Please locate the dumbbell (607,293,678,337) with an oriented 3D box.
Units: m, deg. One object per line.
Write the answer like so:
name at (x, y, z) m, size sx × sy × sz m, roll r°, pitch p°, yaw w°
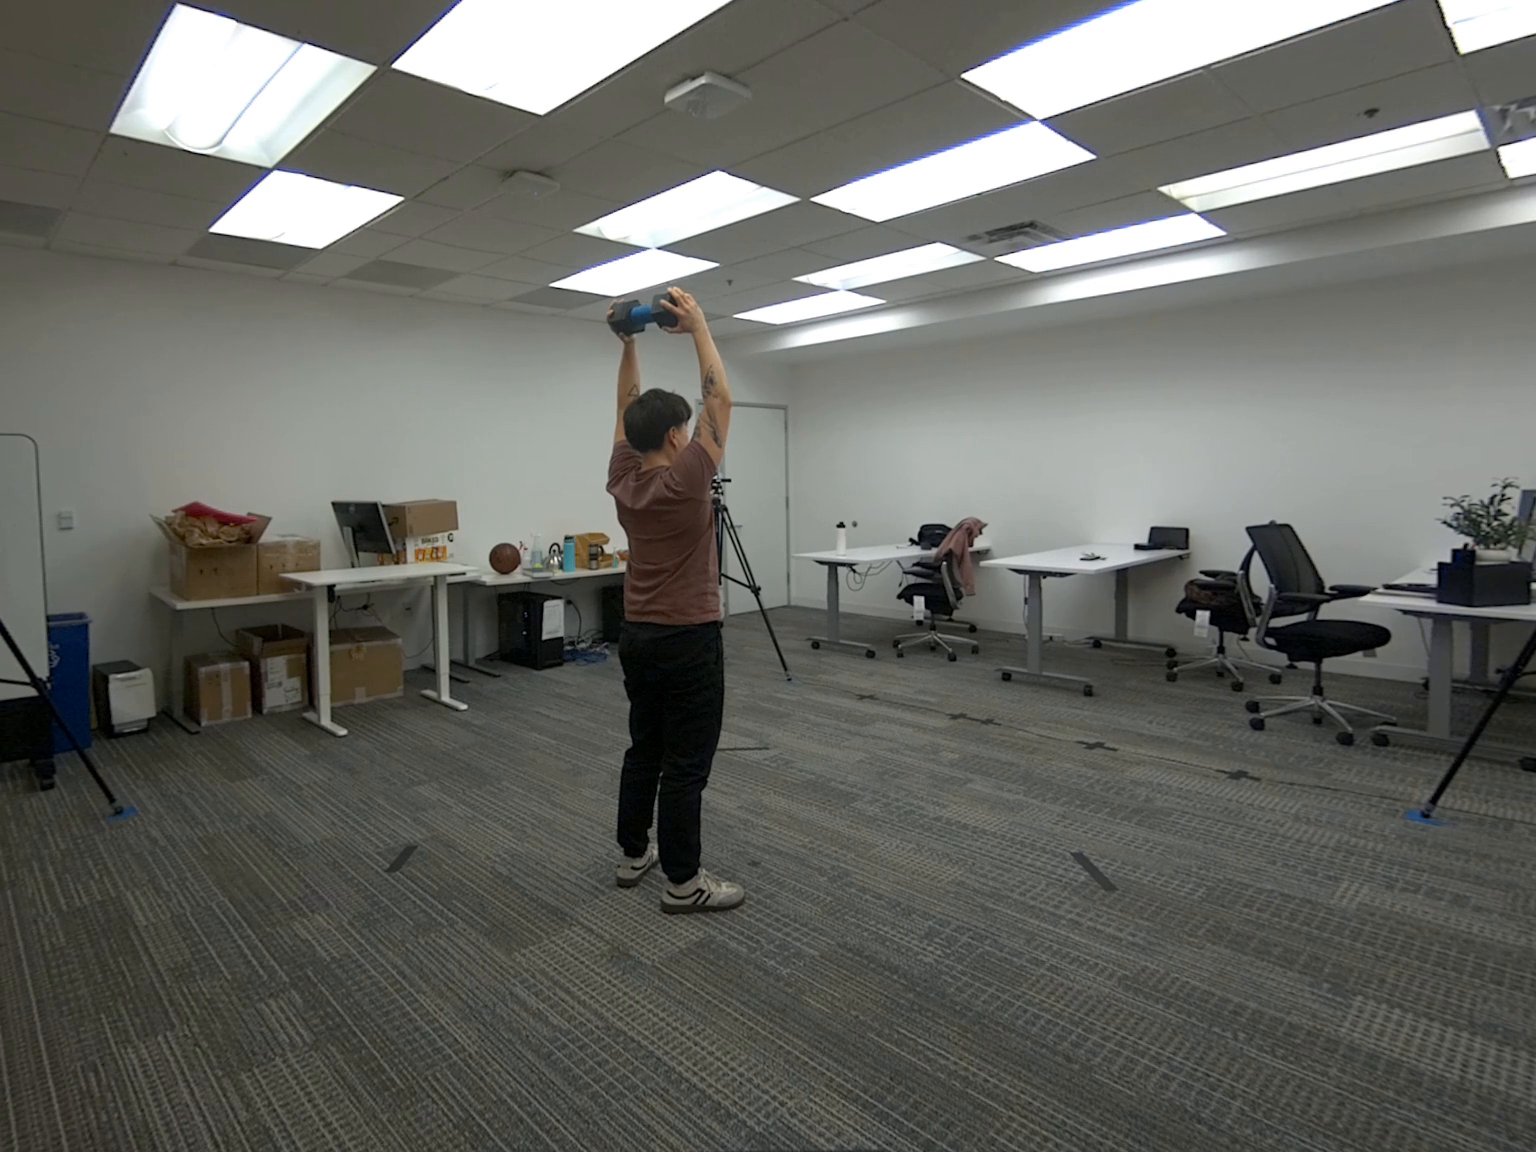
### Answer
dumbbell at (-0.387, -0.855, 2.779) m, size 0.303 × 0.109 × 0.118 m, roll 7°, pitch -35°, yaw 44°
